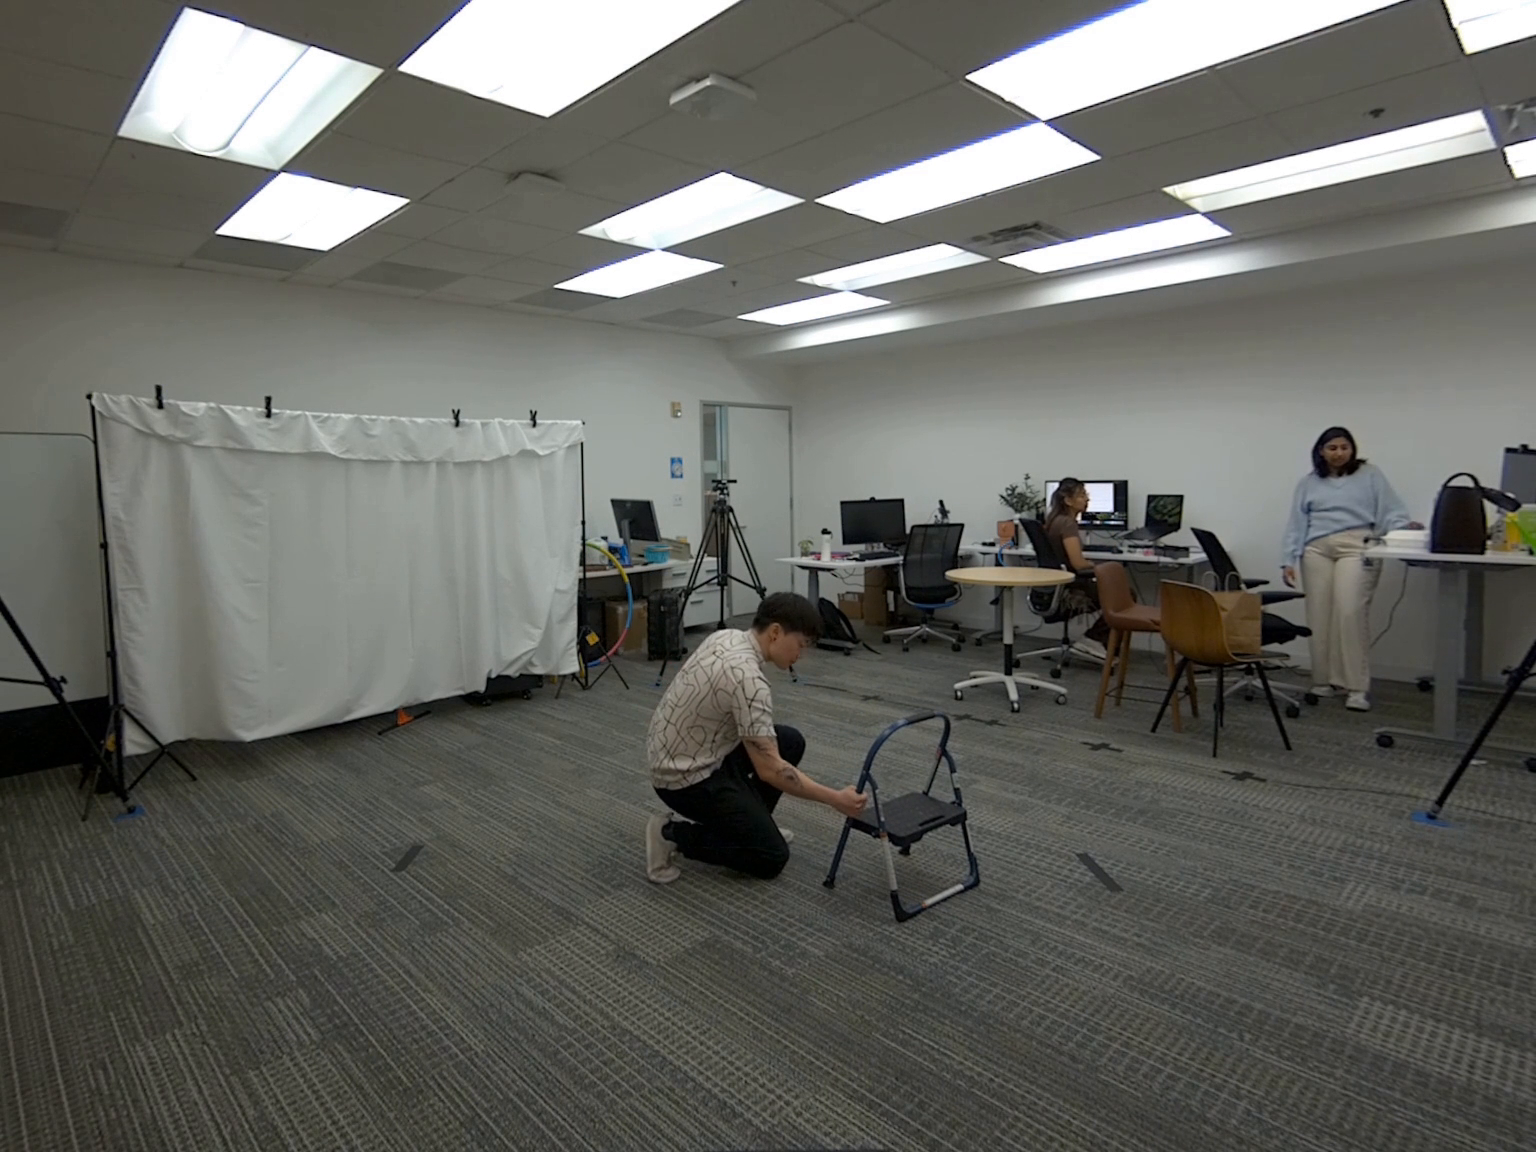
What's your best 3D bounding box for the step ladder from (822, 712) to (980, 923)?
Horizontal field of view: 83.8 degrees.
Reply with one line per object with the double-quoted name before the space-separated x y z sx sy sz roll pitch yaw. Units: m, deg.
"step ladder" 0.454 0.754 2.910 0.419 0.604 0.360 -4 5 -39
